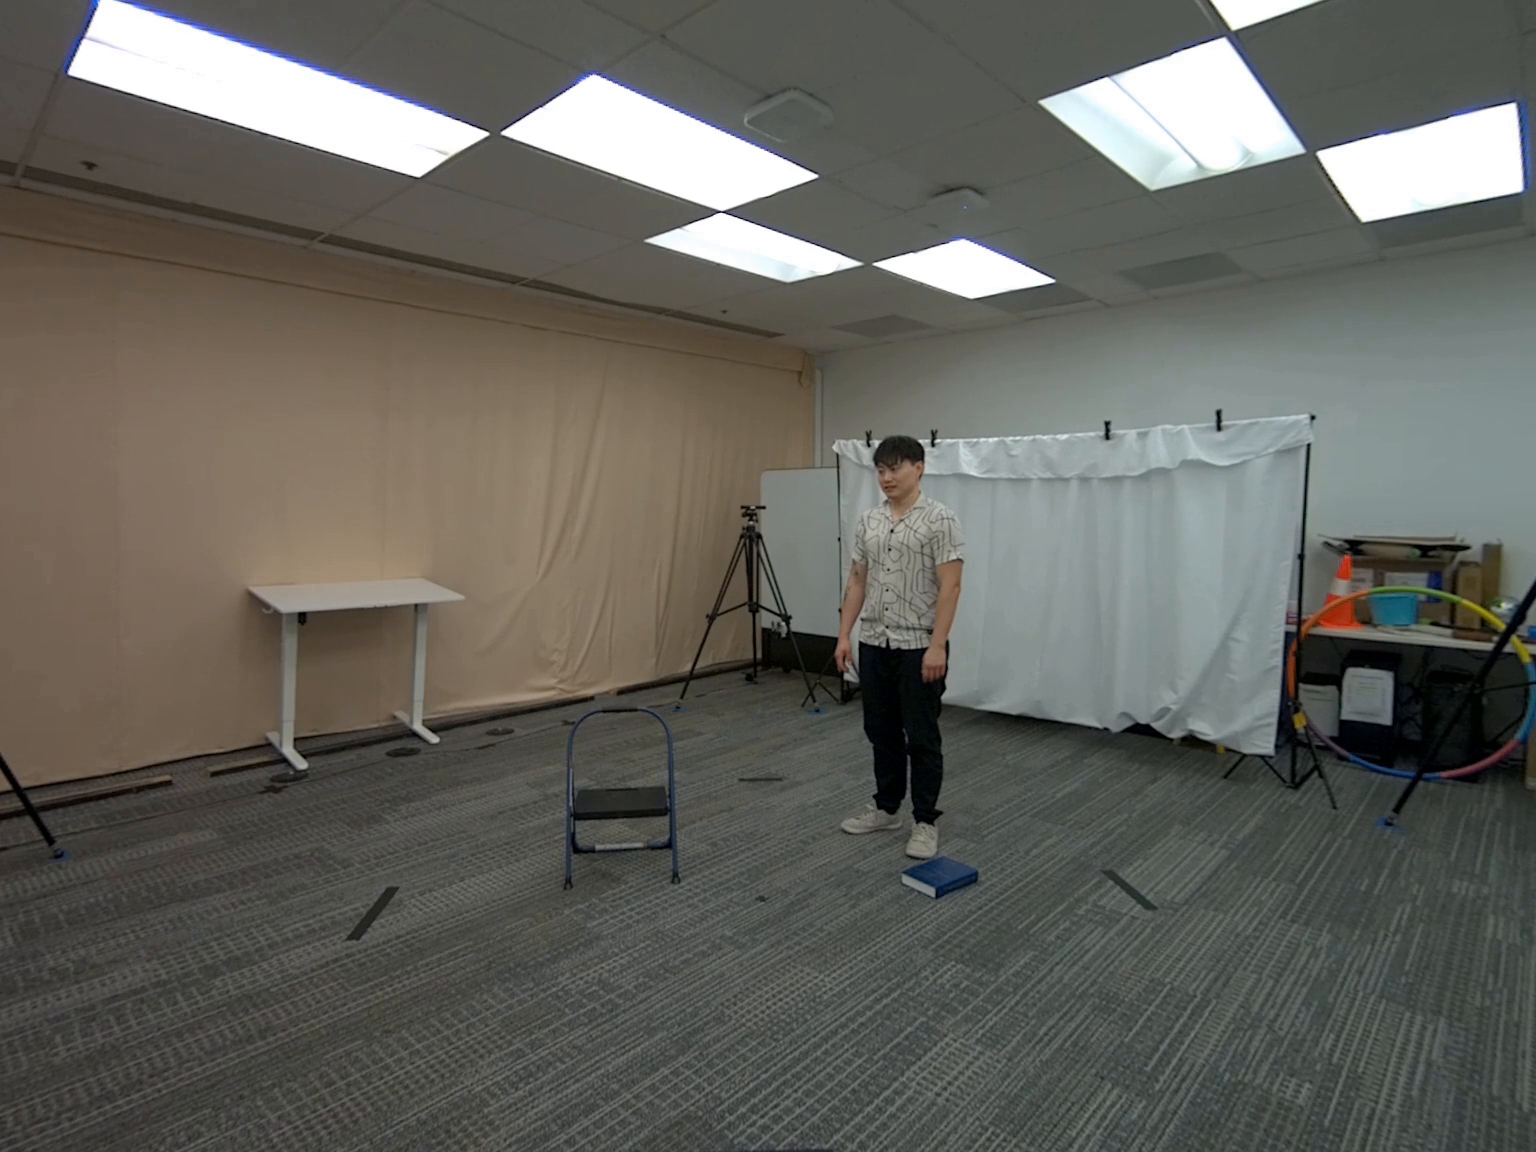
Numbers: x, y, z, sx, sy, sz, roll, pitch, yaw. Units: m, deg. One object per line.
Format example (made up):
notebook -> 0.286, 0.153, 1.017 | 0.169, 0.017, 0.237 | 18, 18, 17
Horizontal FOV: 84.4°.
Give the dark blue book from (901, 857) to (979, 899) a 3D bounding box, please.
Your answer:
dark blue book -> 0.633, 1.107, 3.106 | 0.238, 0.045, 0.169 | -4, 6, -38
